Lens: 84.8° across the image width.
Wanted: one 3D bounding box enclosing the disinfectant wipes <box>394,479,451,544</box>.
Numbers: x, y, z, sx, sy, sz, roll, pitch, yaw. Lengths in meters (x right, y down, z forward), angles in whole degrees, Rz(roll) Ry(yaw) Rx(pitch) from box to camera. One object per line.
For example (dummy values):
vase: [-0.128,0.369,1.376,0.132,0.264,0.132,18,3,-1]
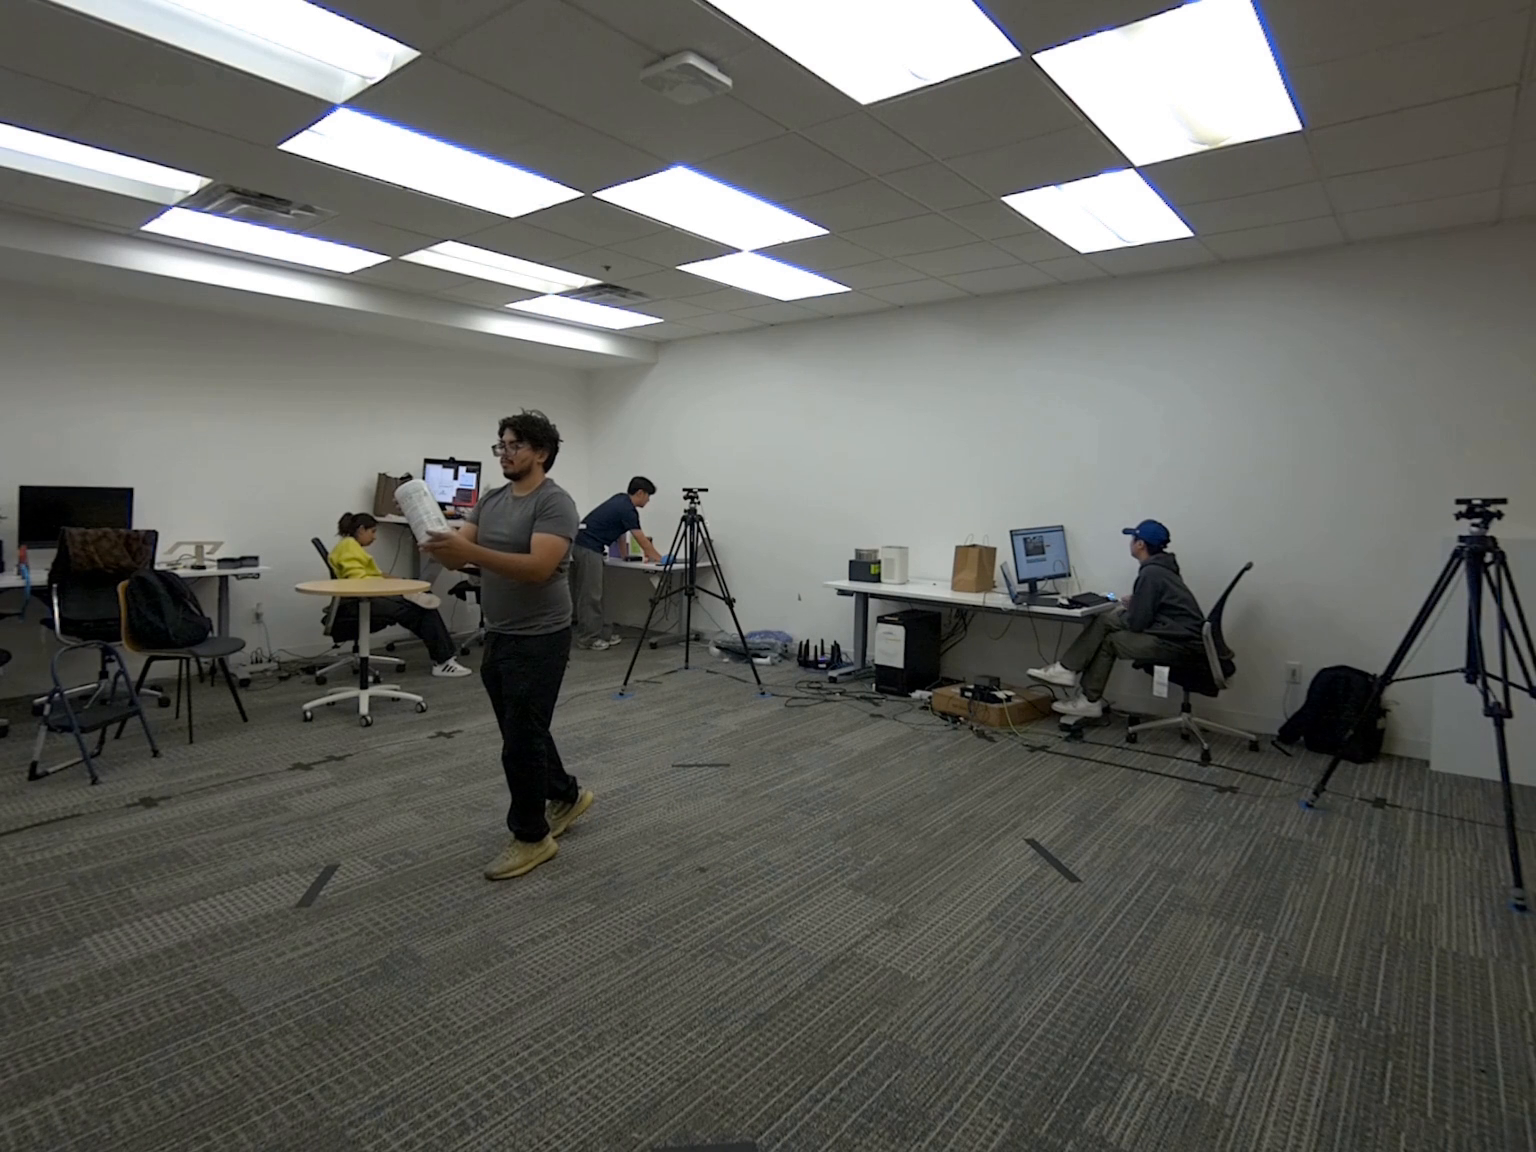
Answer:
disinfectant wipes: [-1.144,-0.206,2.786,0.117,0.221,0.116,-28,-13,-9]
